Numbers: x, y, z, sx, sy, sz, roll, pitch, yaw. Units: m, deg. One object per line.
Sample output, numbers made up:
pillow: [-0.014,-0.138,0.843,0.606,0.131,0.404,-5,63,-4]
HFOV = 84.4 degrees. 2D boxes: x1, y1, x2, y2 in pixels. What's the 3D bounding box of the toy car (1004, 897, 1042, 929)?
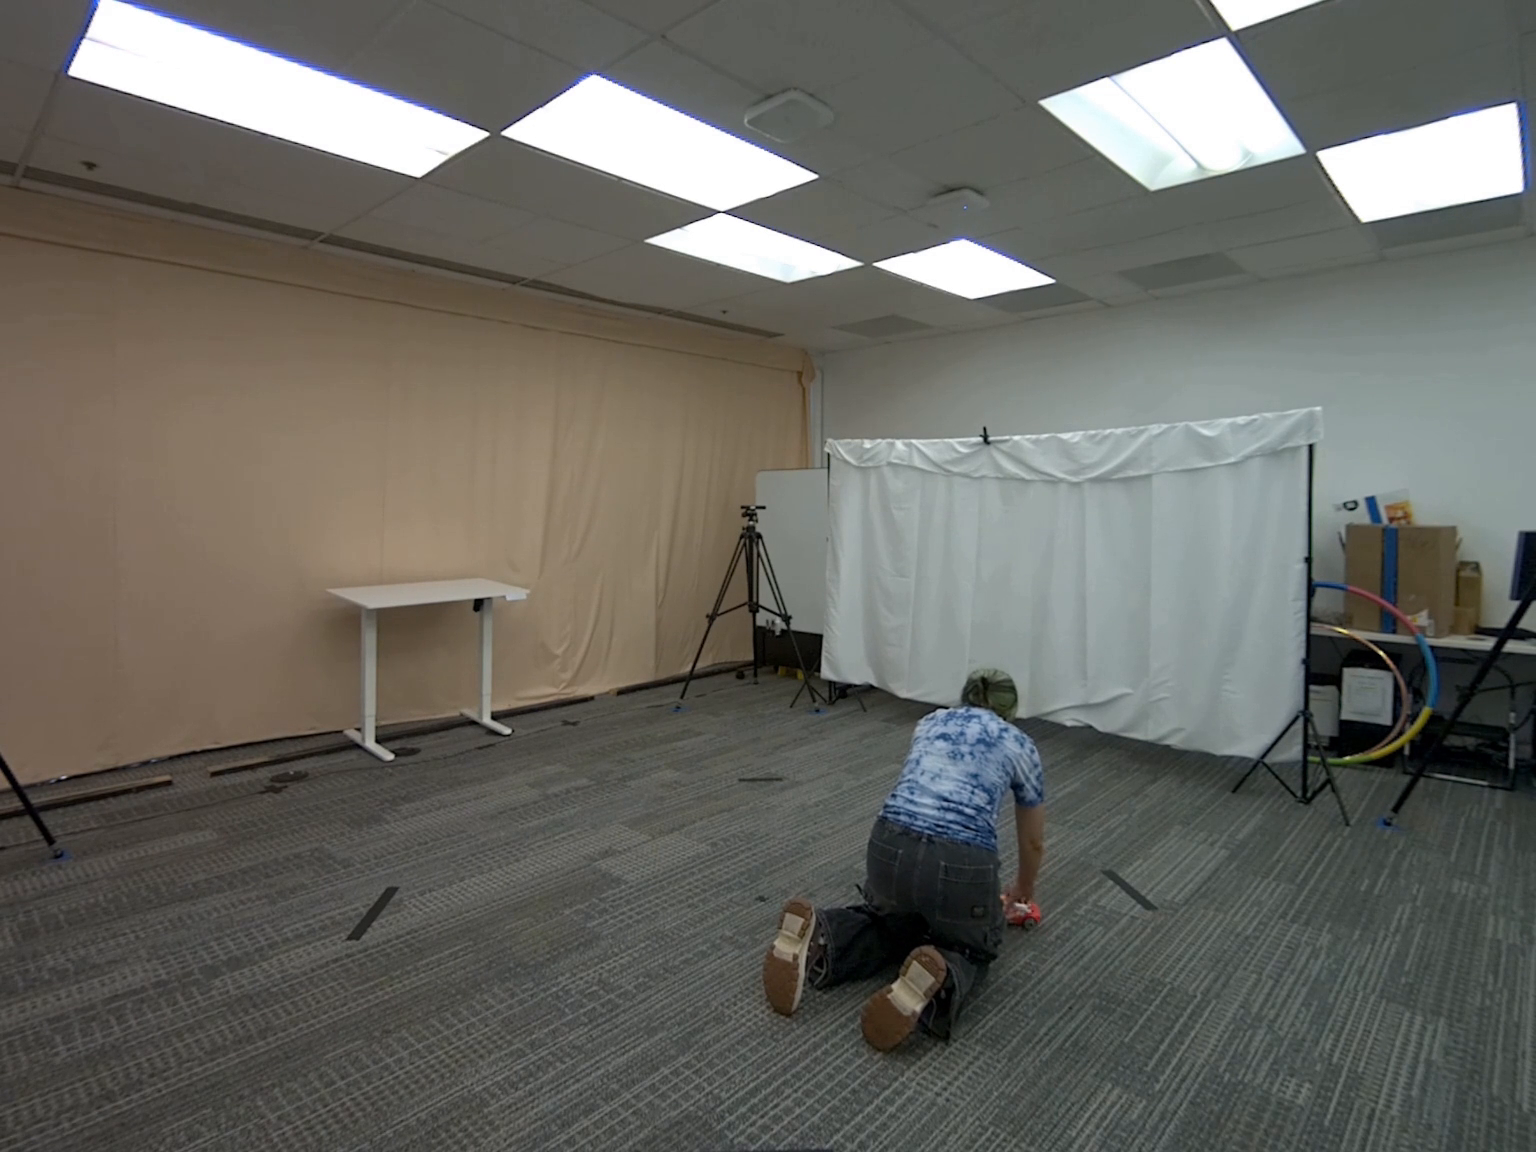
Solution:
toy car: [0.785,1.128,2.825,0.258,0.083,0.129,13,6,10]
